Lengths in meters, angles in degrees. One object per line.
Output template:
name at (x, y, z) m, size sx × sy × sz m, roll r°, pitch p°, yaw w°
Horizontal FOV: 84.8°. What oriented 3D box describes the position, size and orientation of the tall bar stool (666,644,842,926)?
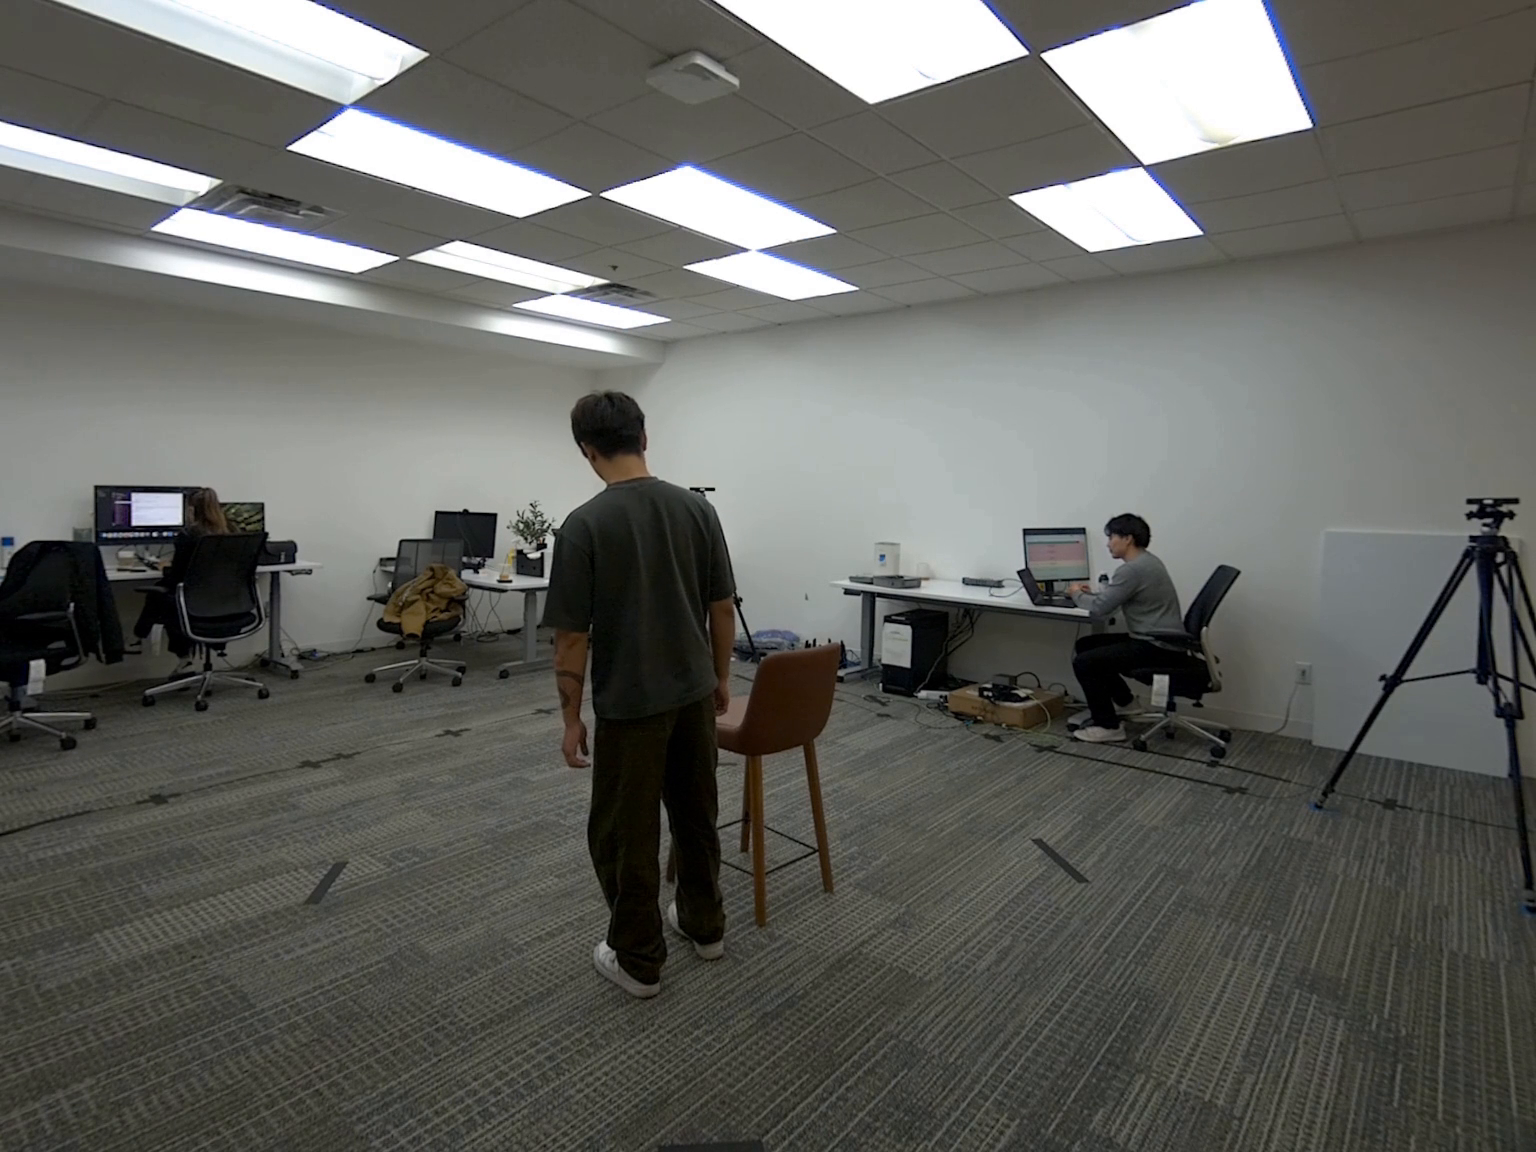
tall bar stool at (-0.051, 0.650, 2.960) m, size 0.484 × 0.886 × 0.442 m, roll 7°, pitch 6°, yaw 44°
